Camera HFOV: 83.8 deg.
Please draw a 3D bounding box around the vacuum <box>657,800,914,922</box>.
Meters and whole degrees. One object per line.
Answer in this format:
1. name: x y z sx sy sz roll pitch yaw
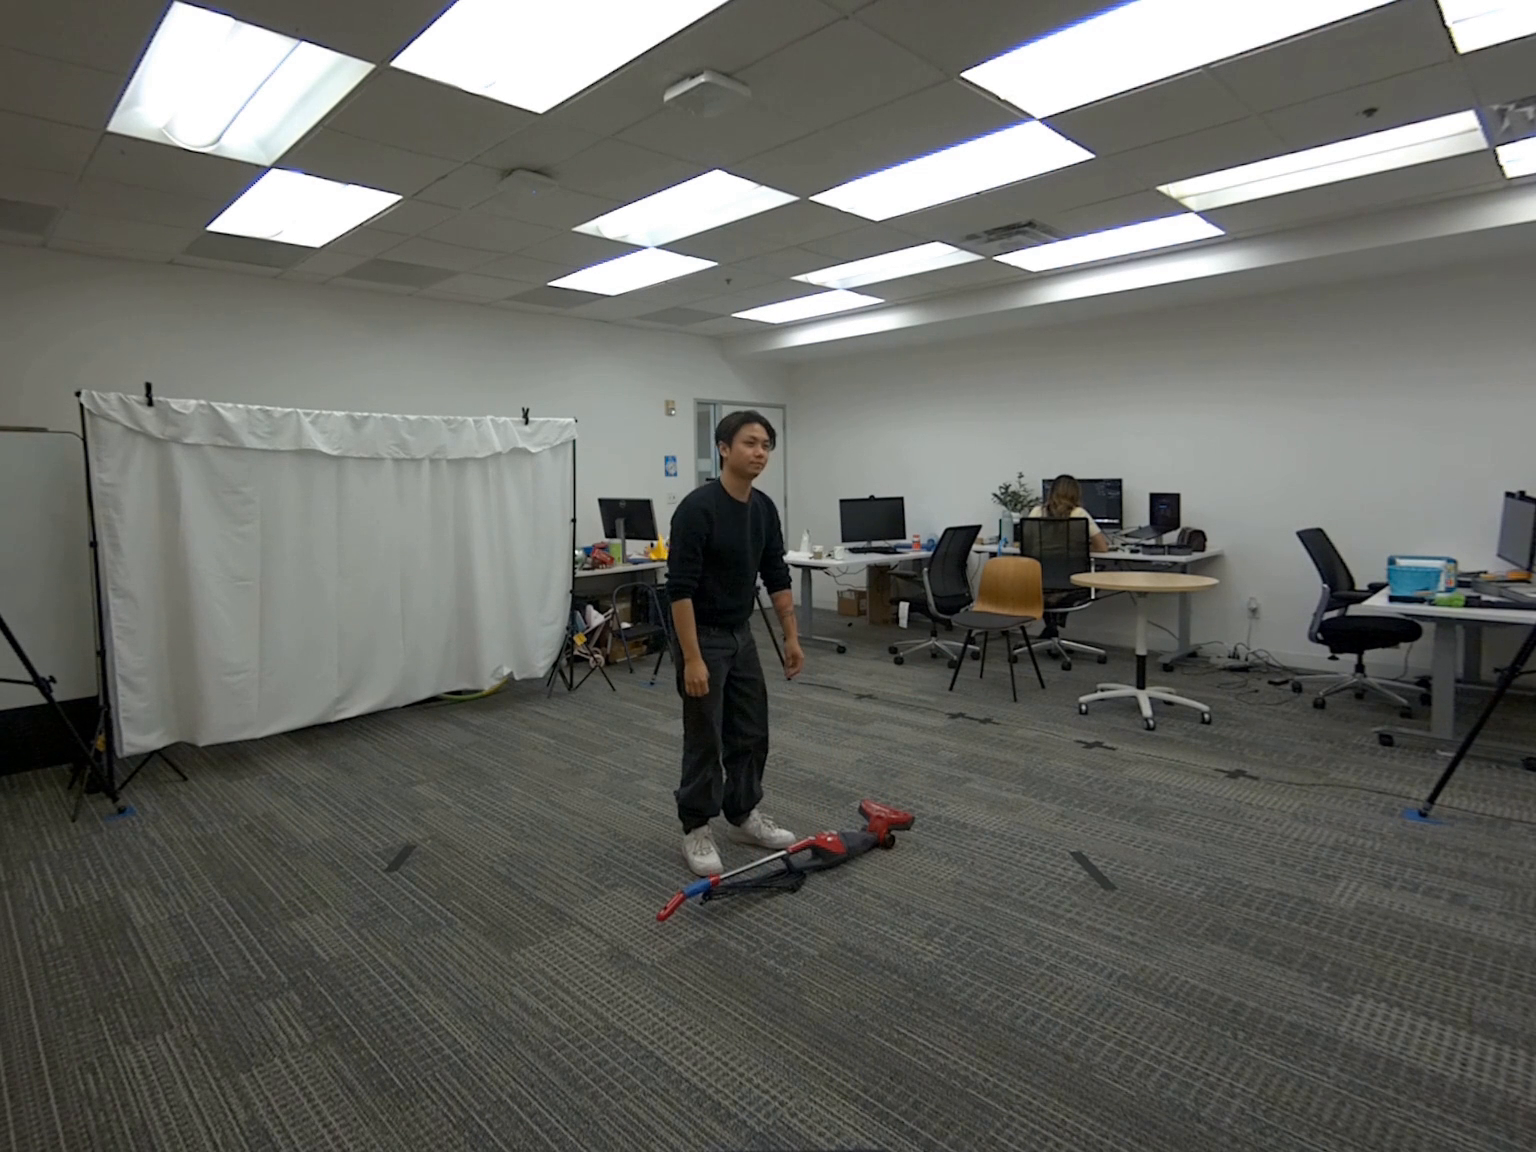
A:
1. vacuum: 0.061 0.994 2.925 1.023 0.144 0.260 -8 5 -41
